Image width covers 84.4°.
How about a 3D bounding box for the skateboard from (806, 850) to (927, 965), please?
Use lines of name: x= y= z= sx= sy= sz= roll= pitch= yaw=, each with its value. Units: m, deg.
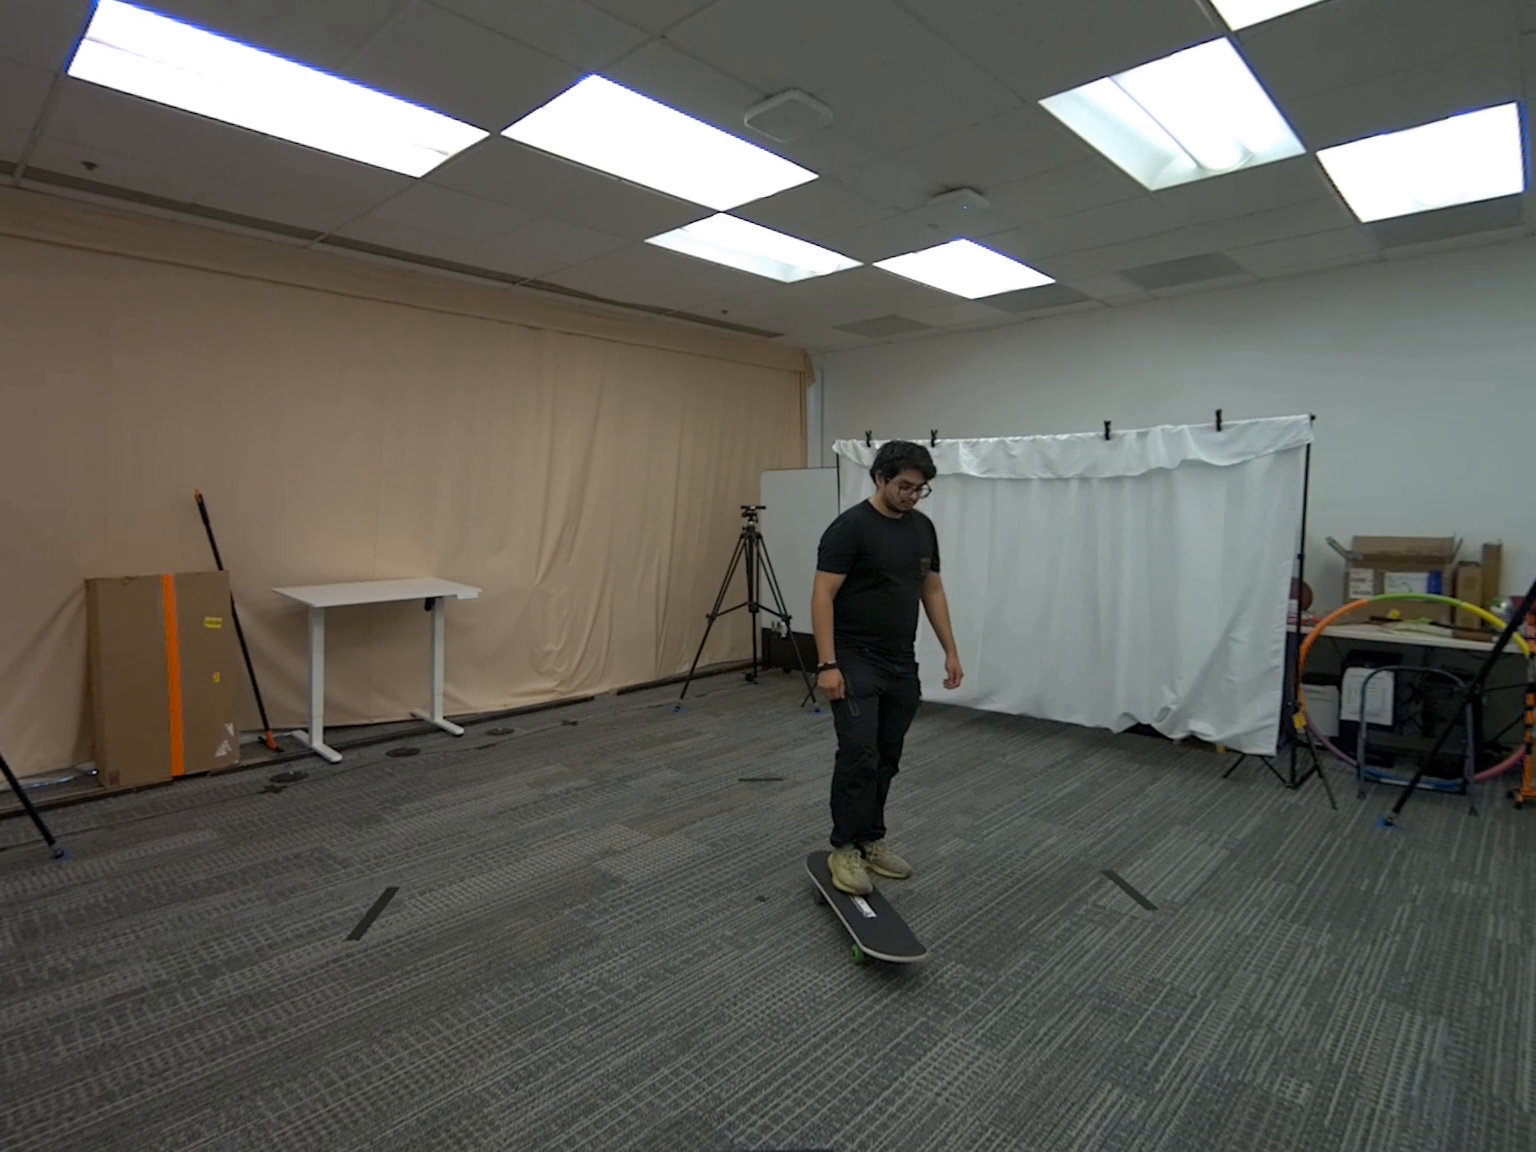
skateboard: x=0.309 y=1.101 z=2.763 sx=0.191 sy=0.110 sz=0.797 roll=2 pitch=3 yaw=-13
